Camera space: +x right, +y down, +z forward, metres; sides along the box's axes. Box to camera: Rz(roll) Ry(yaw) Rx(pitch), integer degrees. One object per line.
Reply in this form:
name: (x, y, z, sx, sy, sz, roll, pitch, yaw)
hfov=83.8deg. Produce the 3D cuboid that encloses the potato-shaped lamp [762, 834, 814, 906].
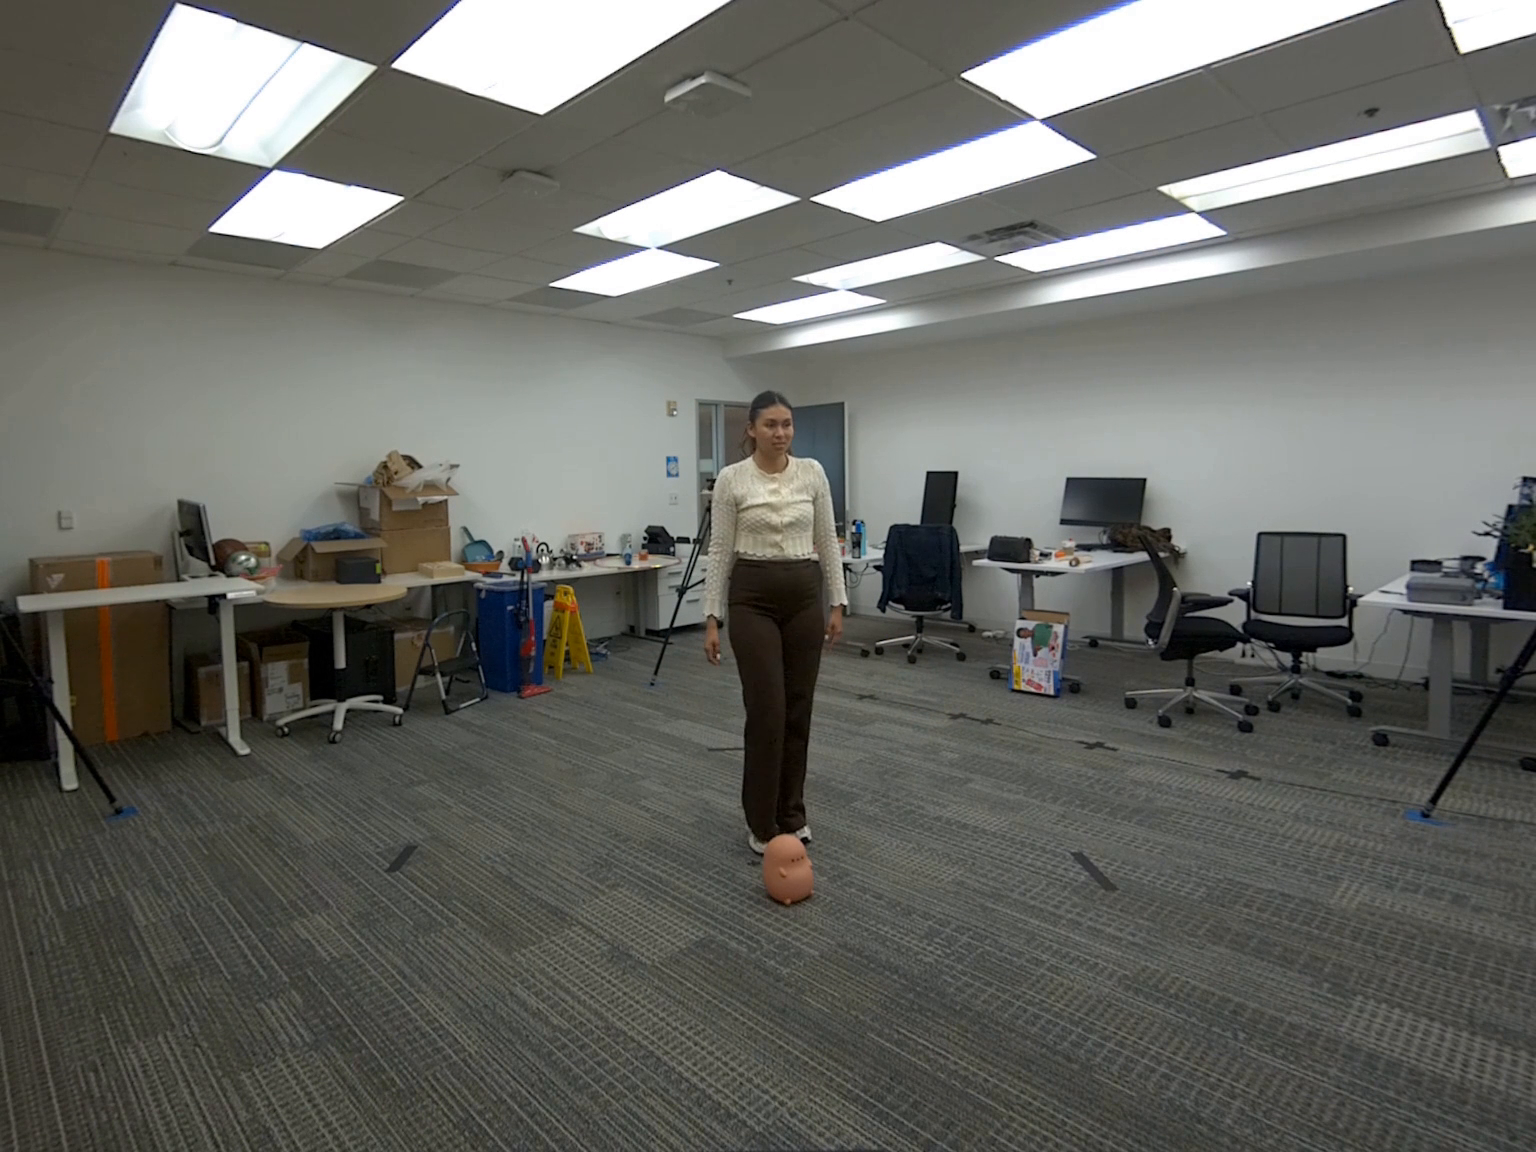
potato-shaped lamp: (0.067, 0.971, 2.860, 0.161, 0.197, 0.176, -3, 5, -32)
